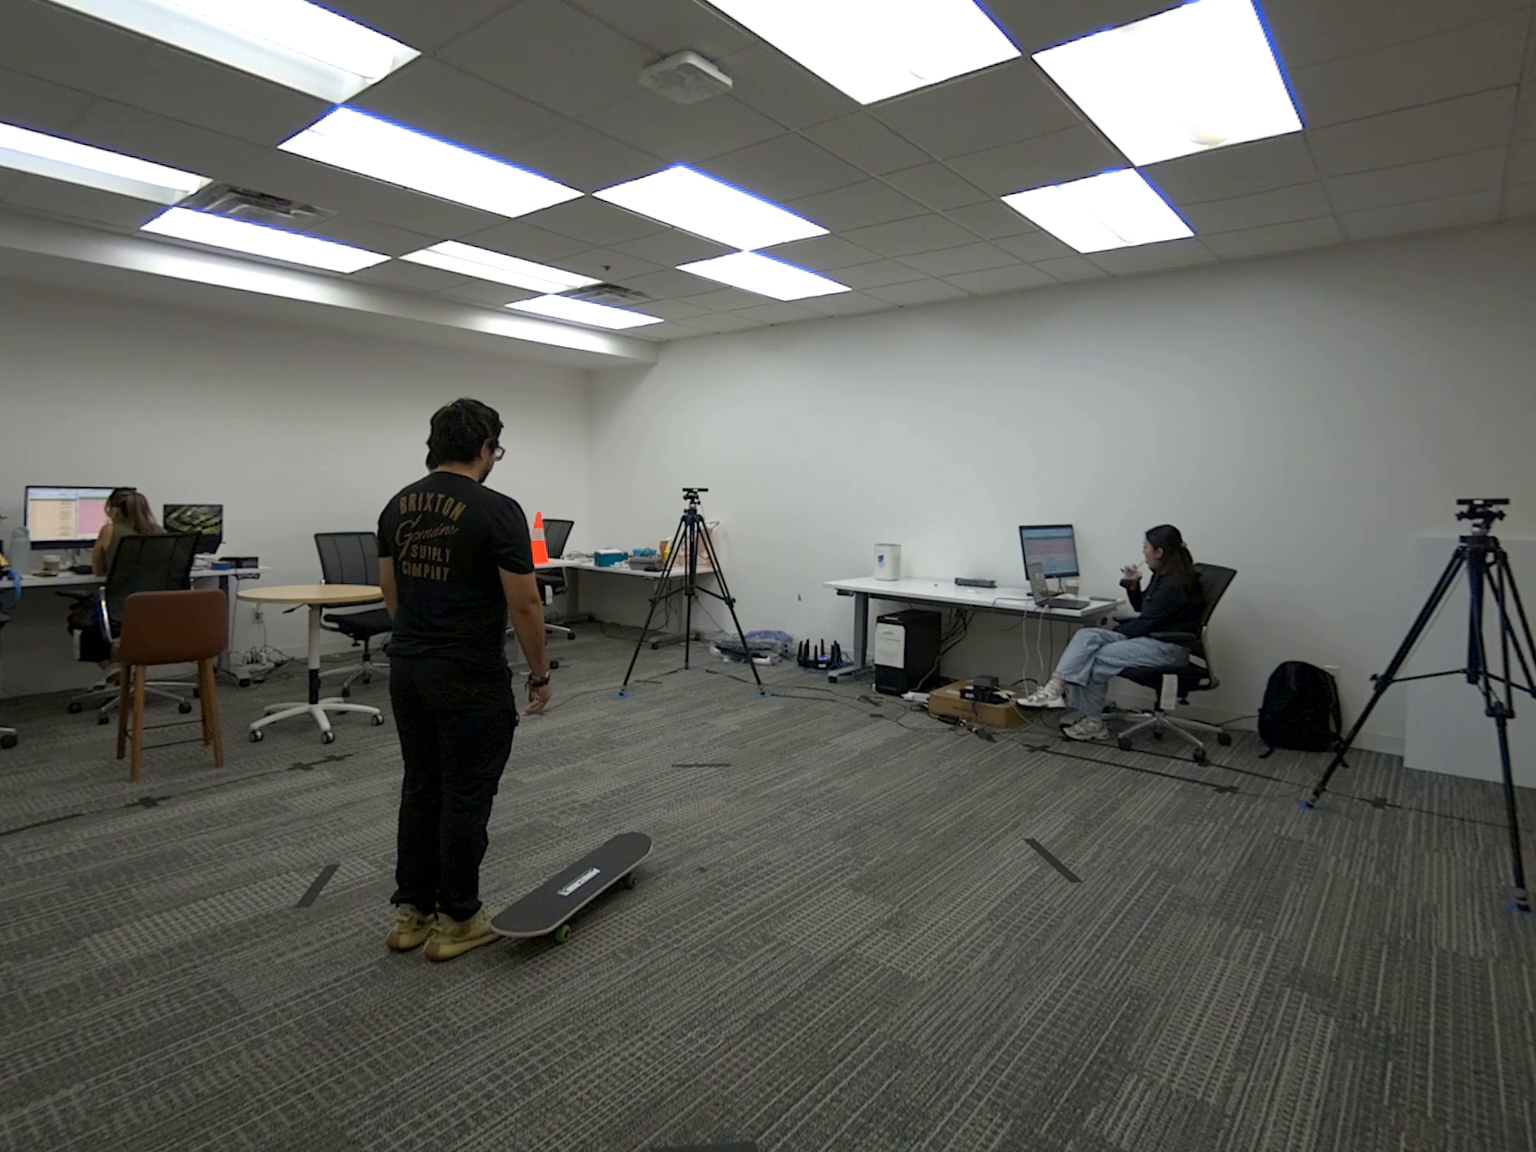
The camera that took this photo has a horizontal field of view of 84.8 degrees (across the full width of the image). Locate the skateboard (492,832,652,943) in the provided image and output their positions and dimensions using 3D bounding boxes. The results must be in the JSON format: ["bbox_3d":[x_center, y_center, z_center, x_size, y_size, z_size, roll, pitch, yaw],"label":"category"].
[{"bbox_3d":[-0.627,1.035,2.812,0.198,0.110,0.770,2,6,22],"label":"skateboard"}]
